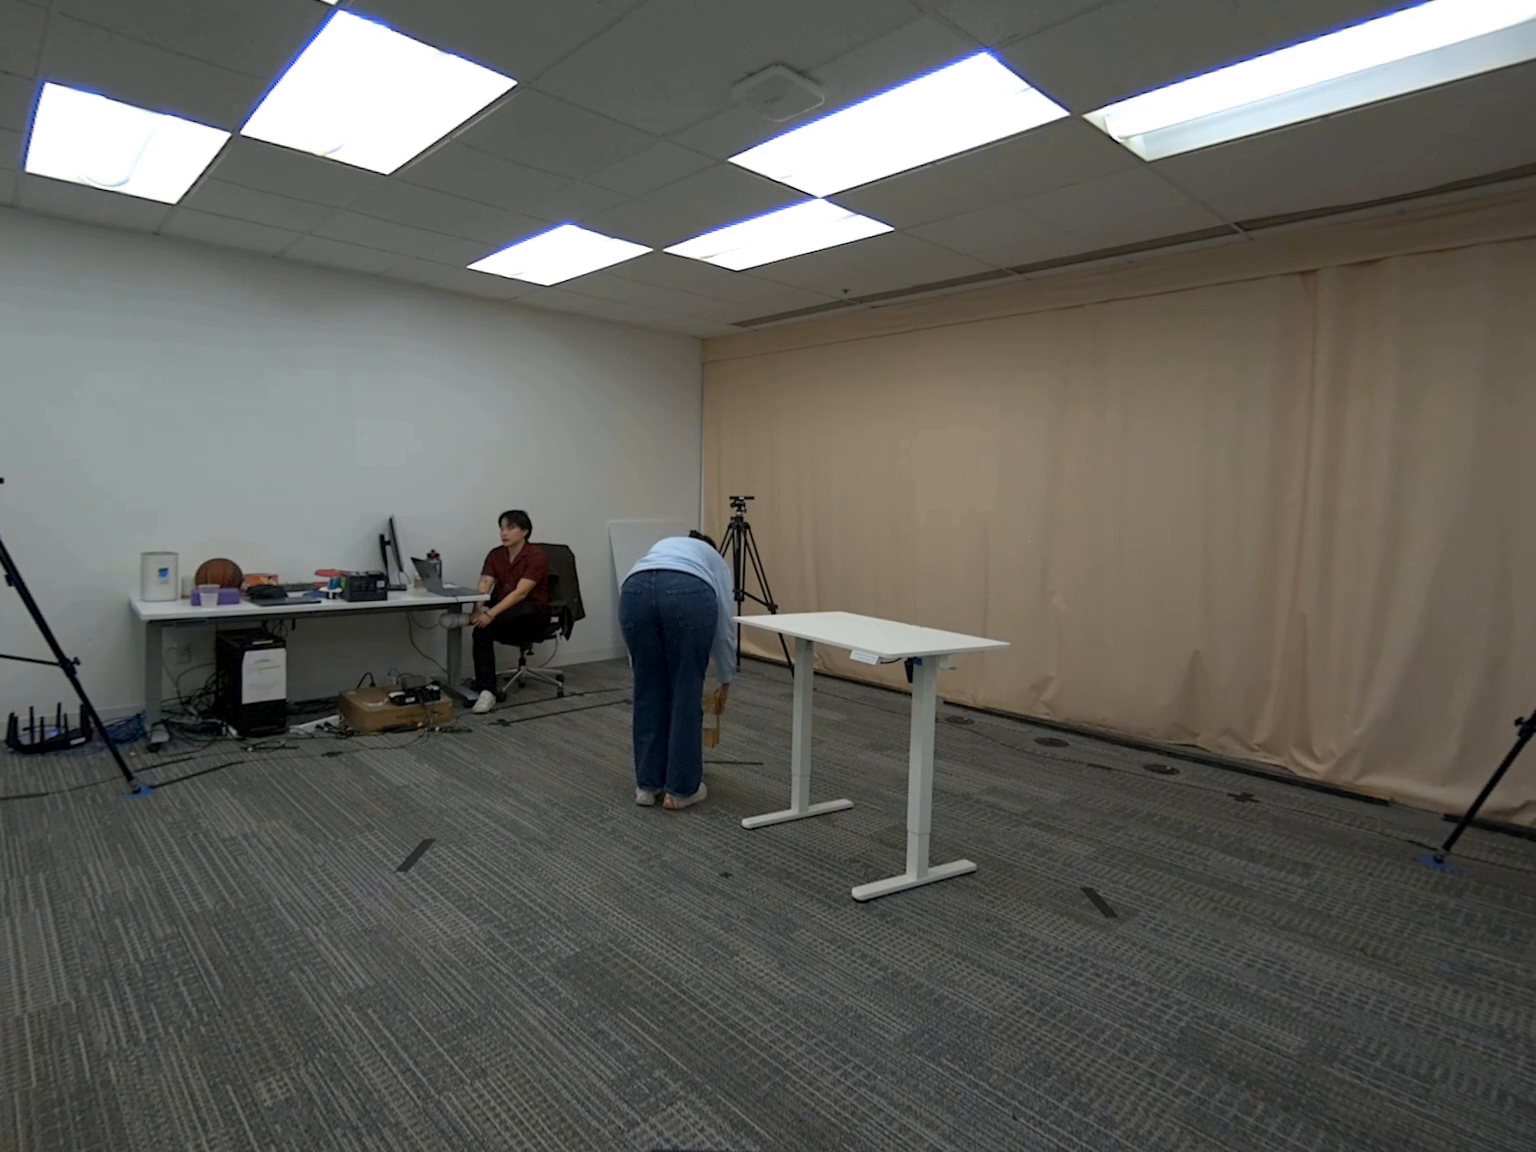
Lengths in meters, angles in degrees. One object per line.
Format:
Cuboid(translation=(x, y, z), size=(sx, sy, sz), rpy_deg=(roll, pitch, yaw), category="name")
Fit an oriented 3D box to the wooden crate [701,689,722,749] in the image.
Cuboid(translation=(-0.401, 0.692, 4.182), size=(0.326, 0.274, 0.299), rpy_deg=(2, -4, 5), category="wooden crate")
